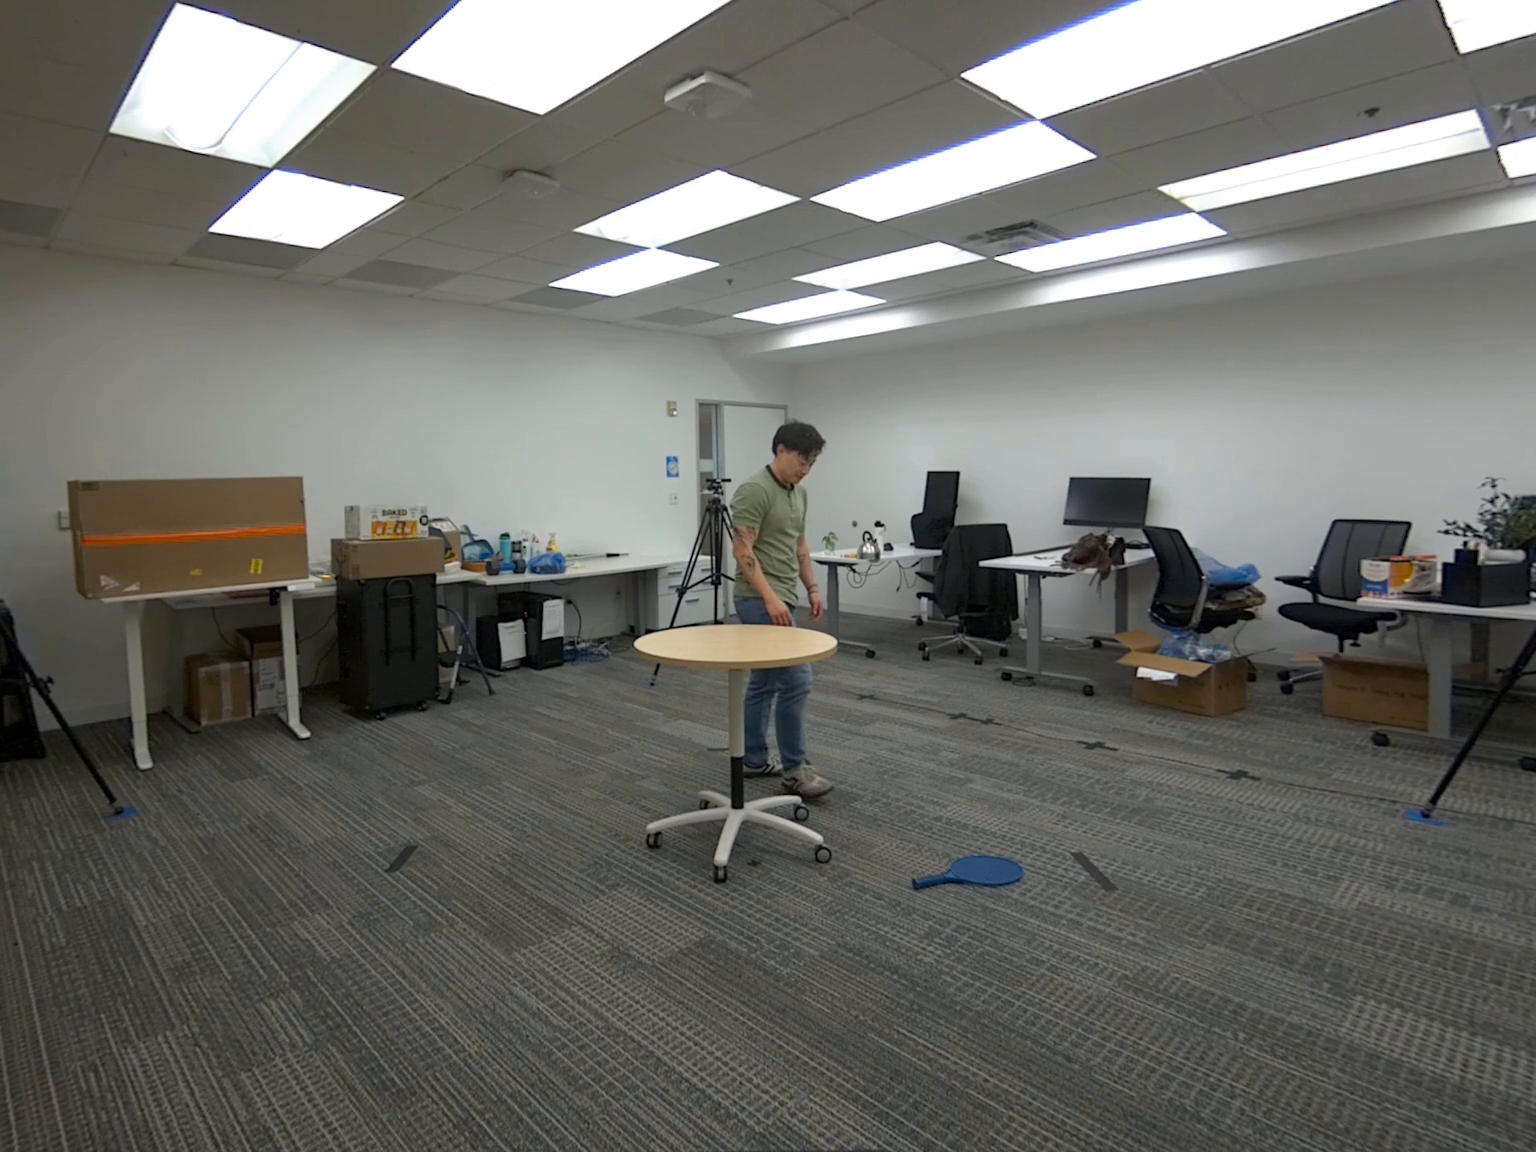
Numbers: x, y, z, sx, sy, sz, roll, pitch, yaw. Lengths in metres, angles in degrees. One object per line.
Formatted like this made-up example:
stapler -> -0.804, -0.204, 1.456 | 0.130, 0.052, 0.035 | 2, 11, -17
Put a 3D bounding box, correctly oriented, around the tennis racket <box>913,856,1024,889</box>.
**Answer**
tennis racket -> 0.690, 1.031, 2.968 | 0.424, 0.031, 0.219 | -3, 7, -25
